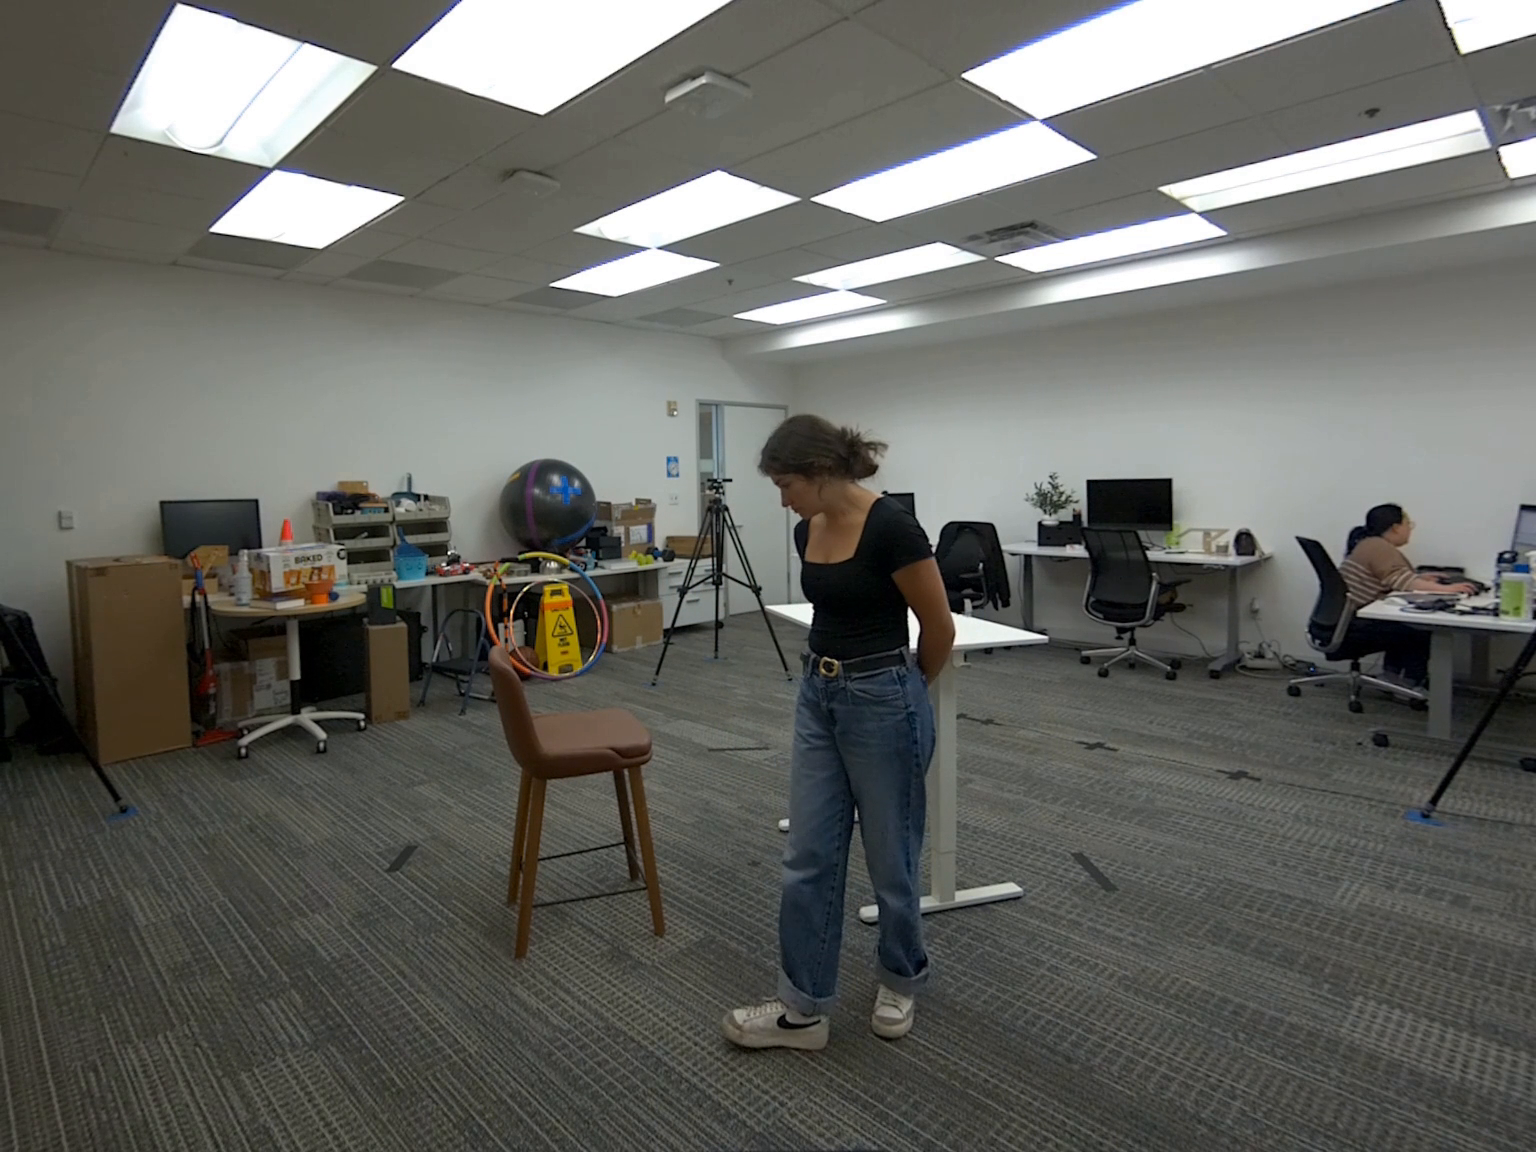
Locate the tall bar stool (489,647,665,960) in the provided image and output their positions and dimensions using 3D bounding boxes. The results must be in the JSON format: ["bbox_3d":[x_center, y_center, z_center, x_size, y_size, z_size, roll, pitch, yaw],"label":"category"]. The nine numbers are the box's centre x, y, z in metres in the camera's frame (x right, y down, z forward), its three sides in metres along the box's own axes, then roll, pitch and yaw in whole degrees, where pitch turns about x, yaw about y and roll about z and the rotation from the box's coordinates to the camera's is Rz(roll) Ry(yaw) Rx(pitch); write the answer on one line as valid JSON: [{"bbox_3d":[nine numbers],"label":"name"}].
[{"bbox_3d":[-0.605,0.665,2.722,0.460,0.886,0.466,-4,5,-20],"label":"tall bar stool"}]
